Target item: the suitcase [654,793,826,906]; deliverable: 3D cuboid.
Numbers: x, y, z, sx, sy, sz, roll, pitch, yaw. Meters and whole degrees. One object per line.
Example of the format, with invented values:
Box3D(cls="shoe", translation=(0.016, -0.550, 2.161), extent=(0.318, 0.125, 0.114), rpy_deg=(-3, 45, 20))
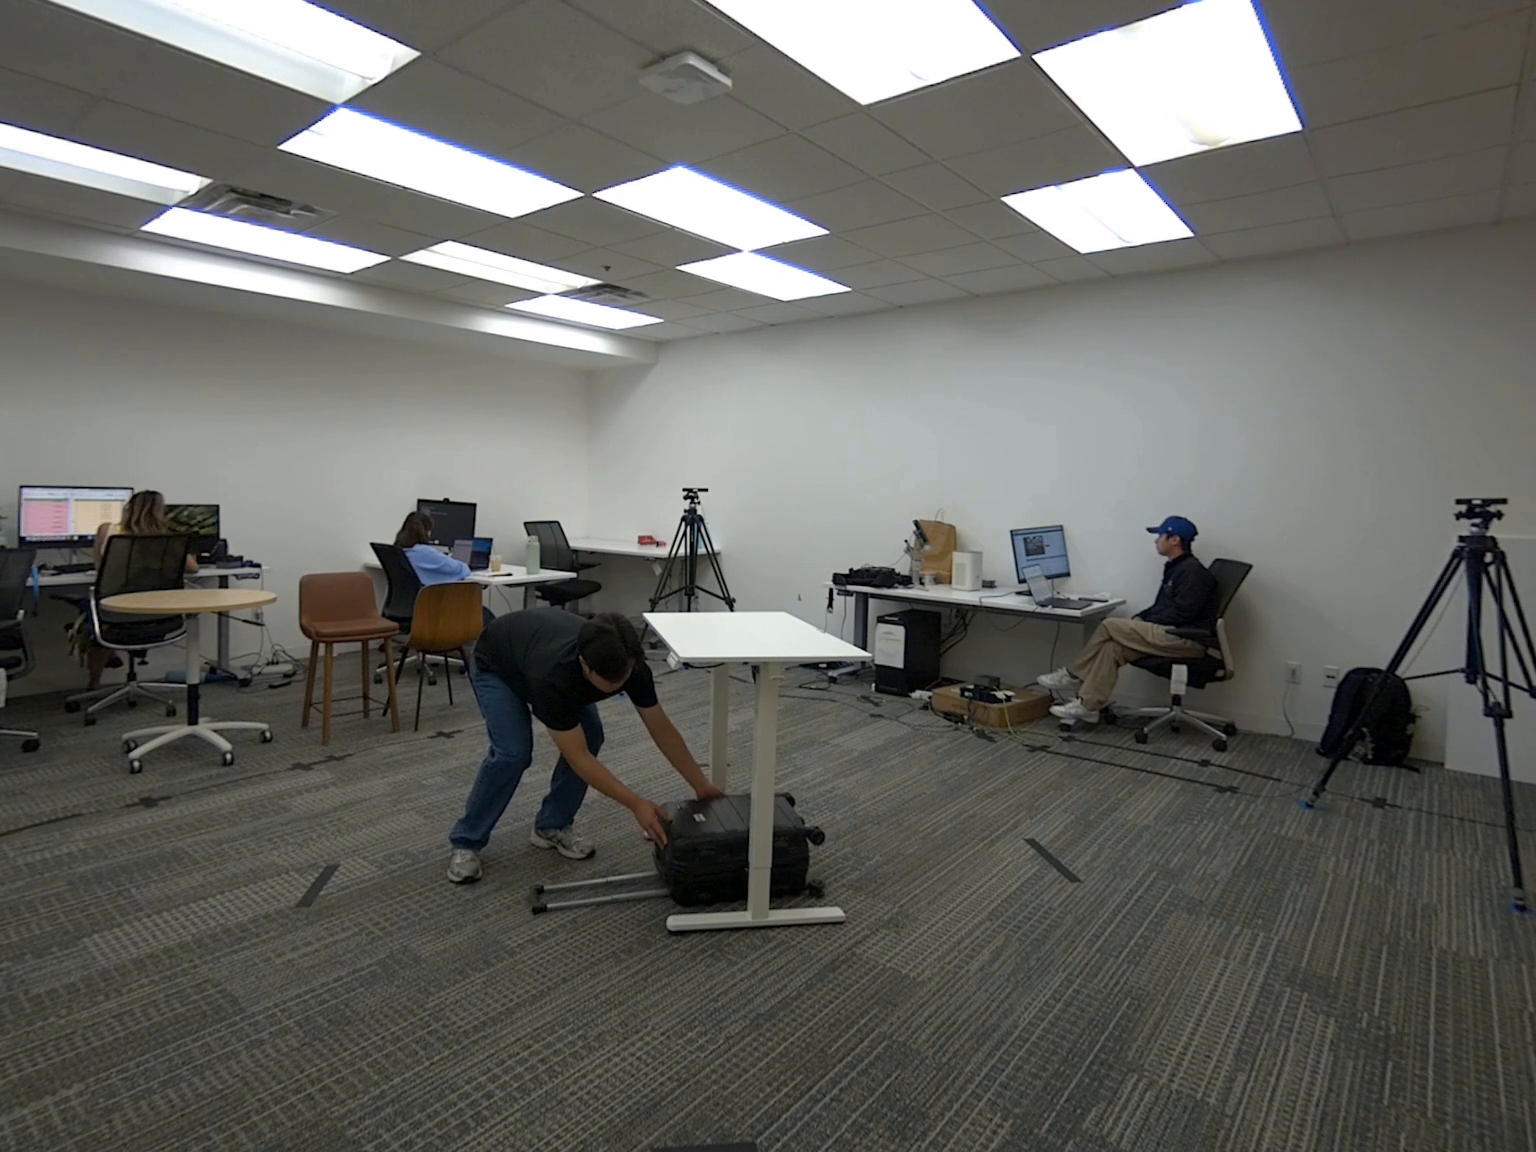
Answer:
Box3D(cls="suitcase", translation=(-0.326, 0.955, 2.956), extent=(0.963, 0.256, 0.392), rpy_deg=(0, 7, -16))
